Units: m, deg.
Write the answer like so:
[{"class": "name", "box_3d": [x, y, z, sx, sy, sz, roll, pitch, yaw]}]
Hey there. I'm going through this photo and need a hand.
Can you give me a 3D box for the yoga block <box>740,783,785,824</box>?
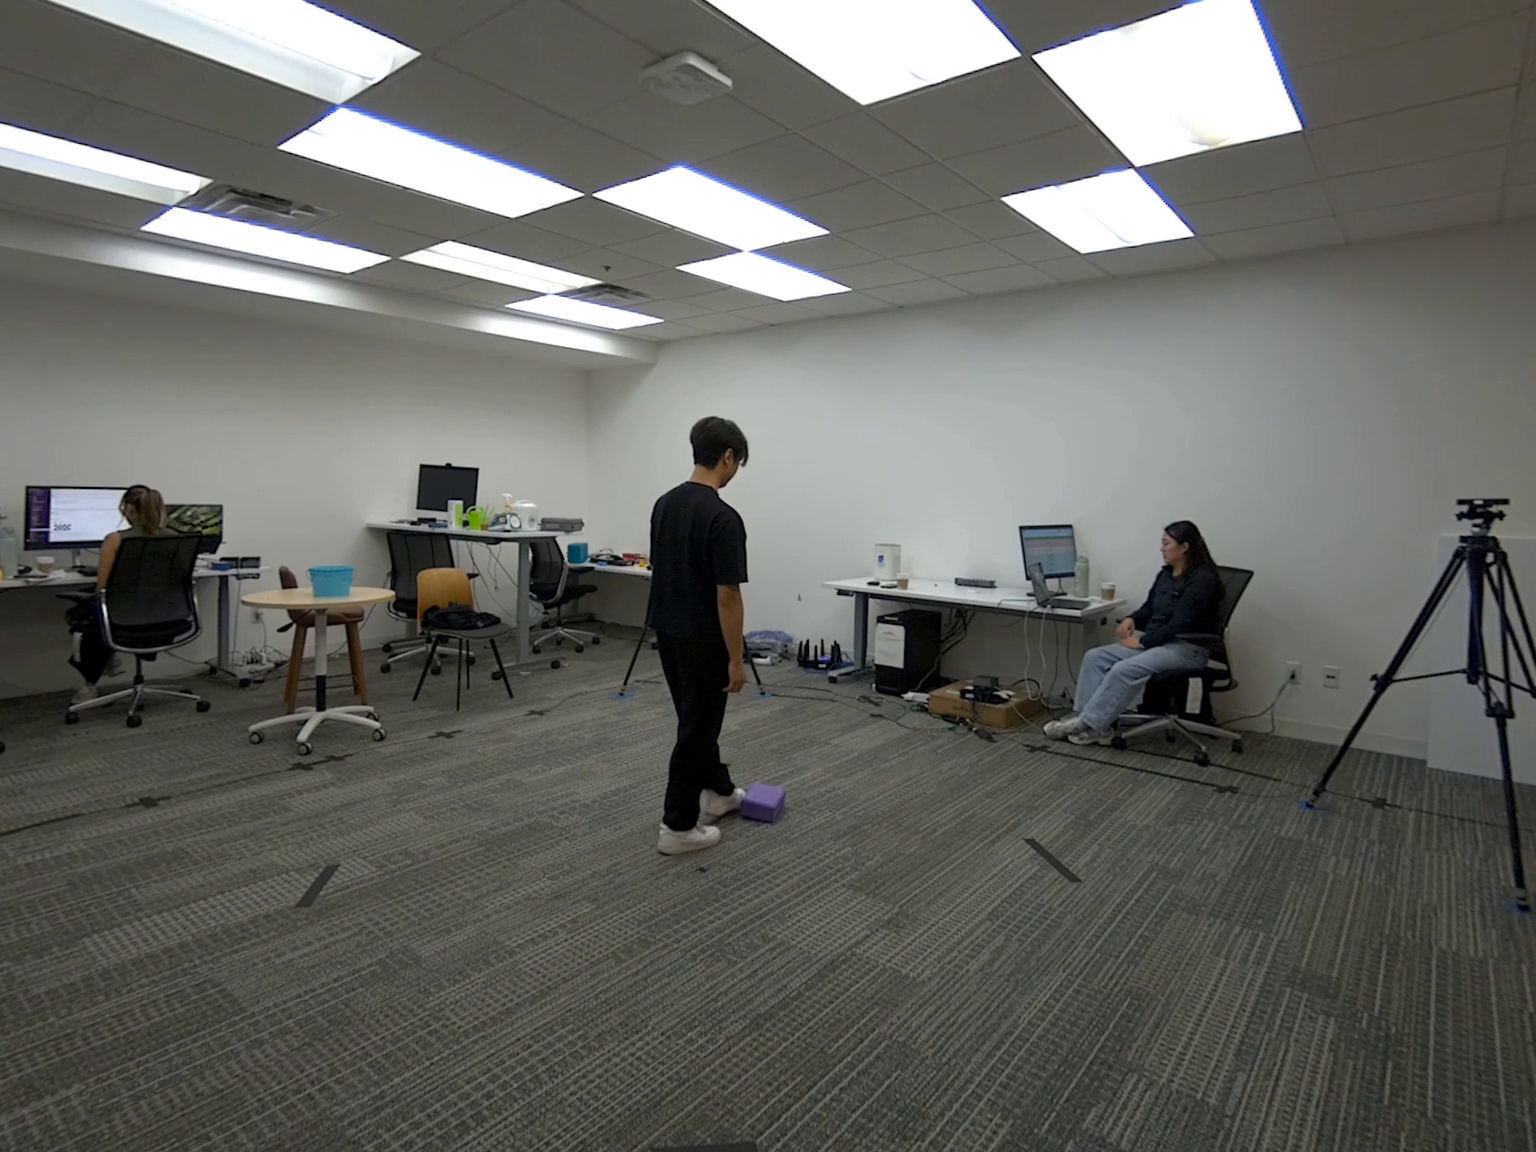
[{"class": "yoga block", "box_3d": [-0.031, 0.974, 3.675, 0.151, 0.076, 0.226, 7, 7, 13]}]
